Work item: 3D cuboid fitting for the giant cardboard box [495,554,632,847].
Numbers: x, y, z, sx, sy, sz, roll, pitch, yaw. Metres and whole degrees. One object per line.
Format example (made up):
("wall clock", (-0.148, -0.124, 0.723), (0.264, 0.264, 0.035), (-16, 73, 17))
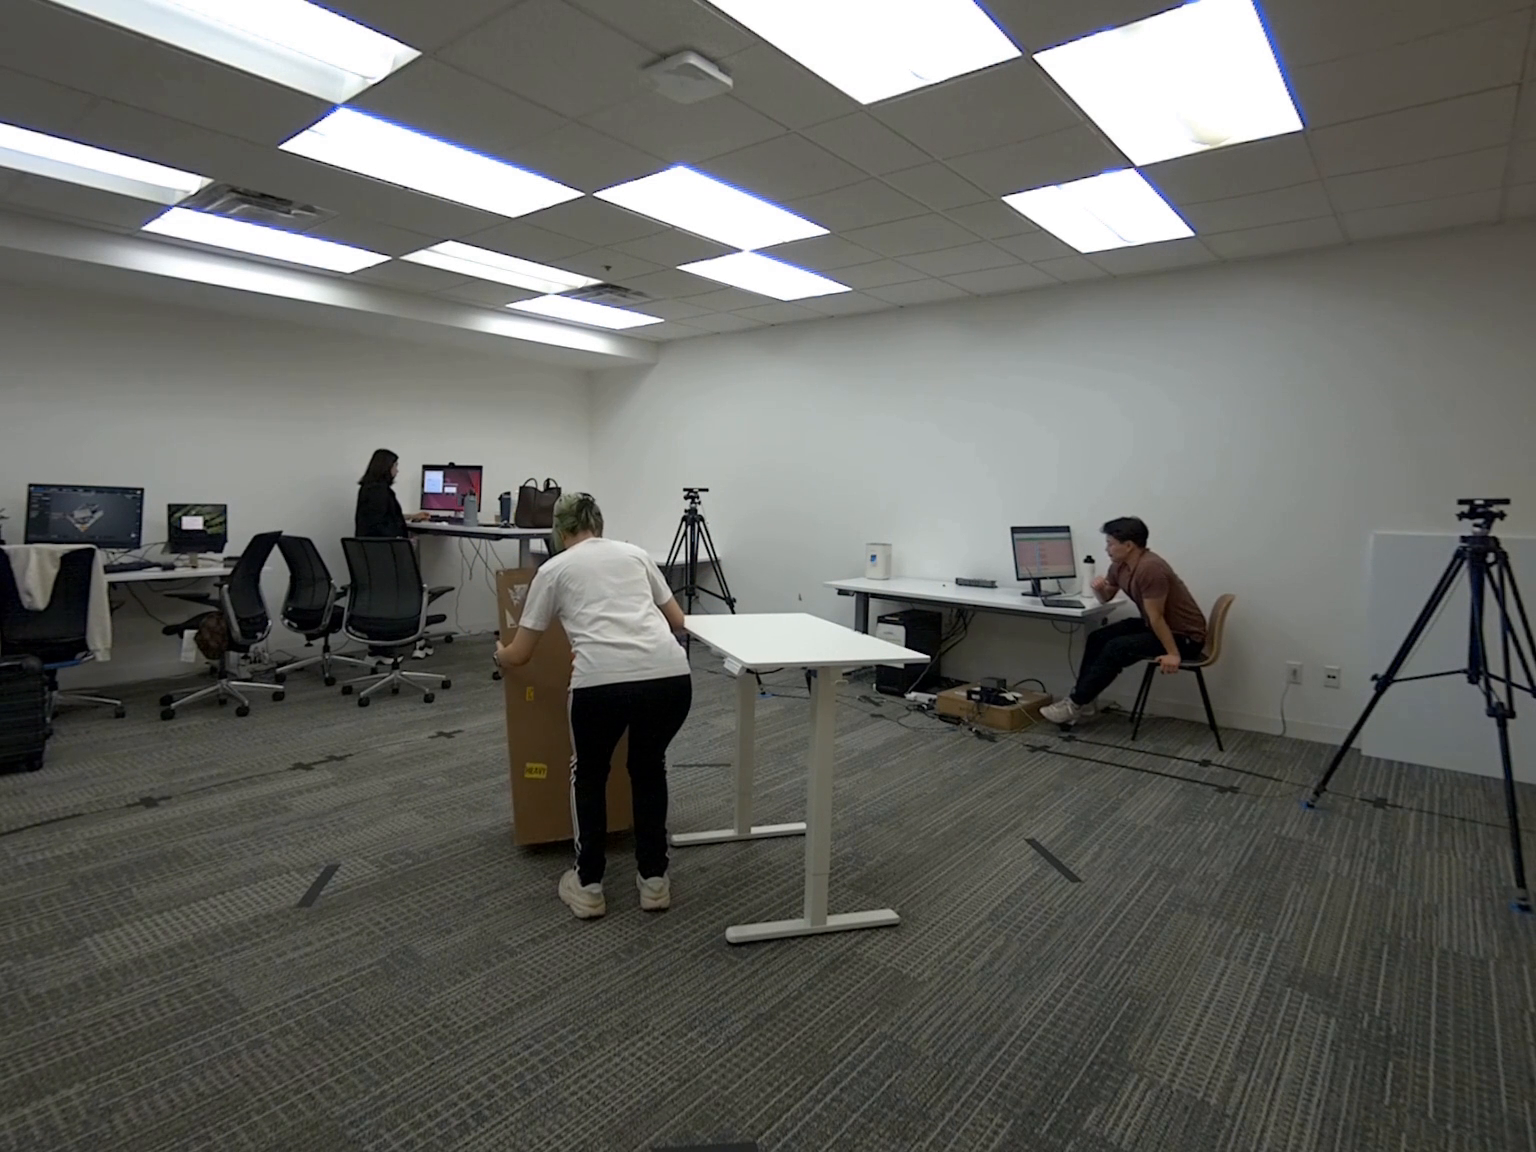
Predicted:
("giant cardboard box", (-0.777, 0.467, 3.411), (0.575, 1.030, 0.452), (-4, -3, -16))
